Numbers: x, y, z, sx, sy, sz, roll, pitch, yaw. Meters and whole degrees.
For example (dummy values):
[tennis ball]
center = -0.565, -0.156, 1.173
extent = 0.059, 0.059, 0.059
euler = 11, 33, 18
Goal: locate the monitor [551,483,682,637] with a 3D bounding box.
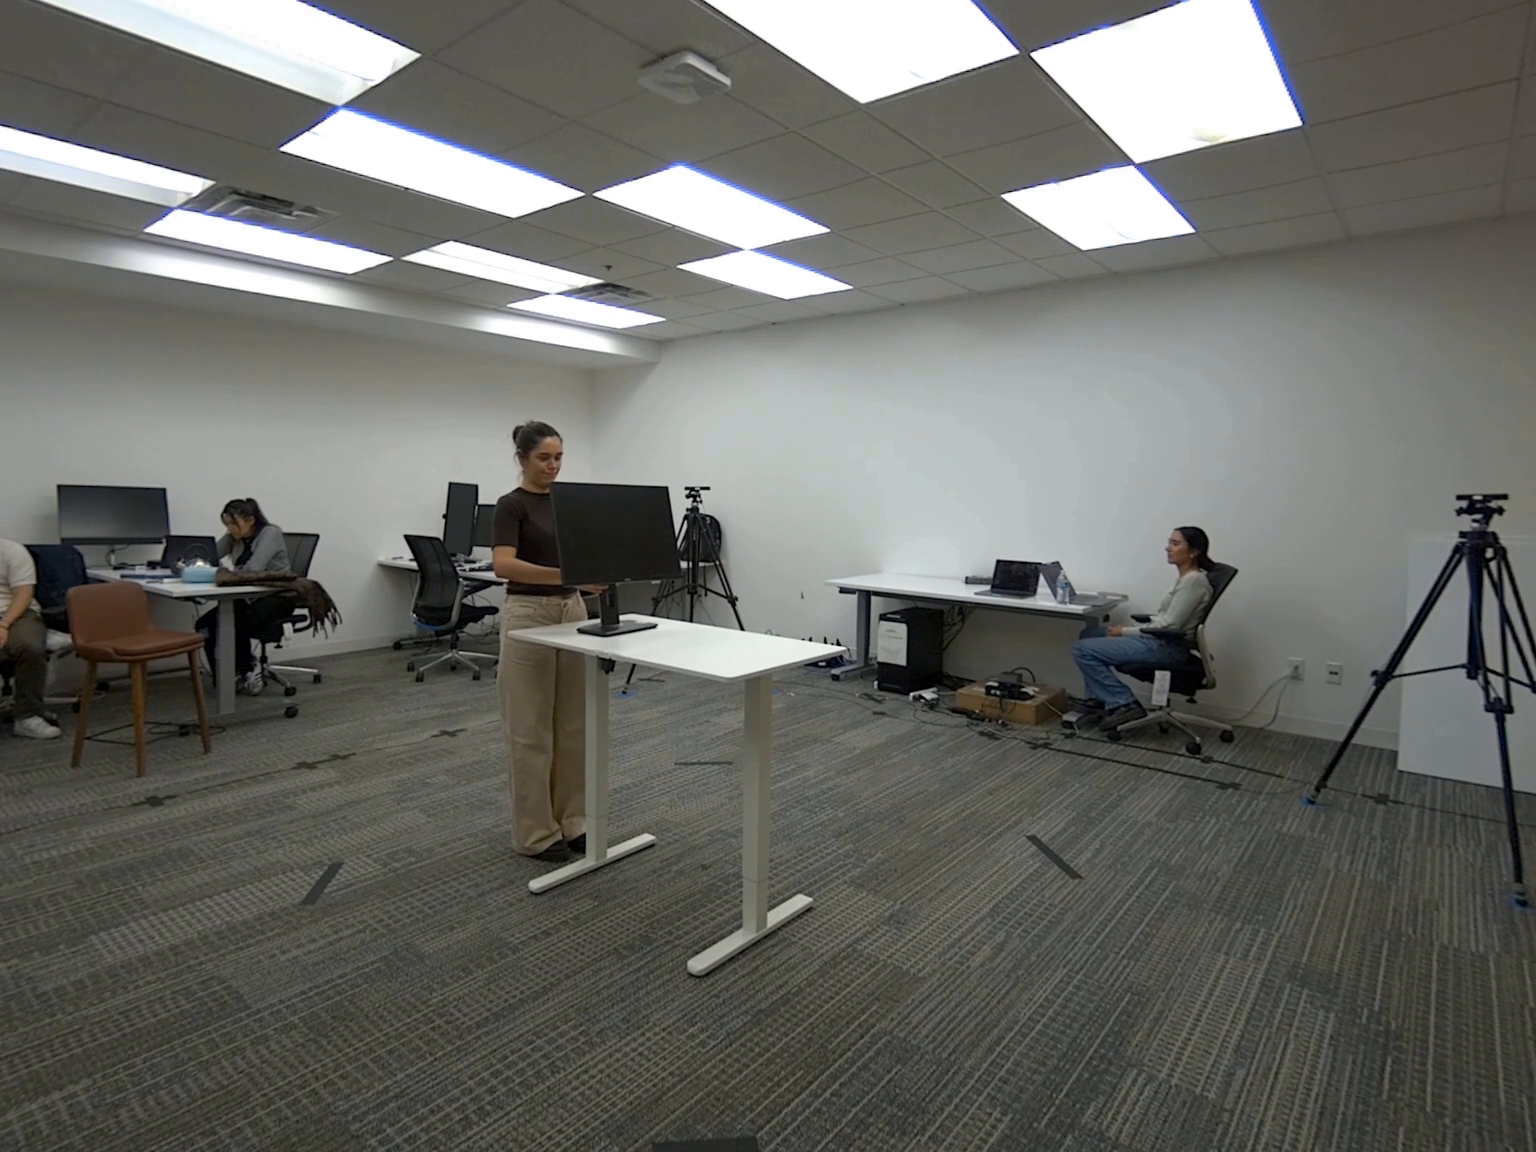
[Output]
[monitor]
center = -0.553, -0.064, 2.995
extent = 0.193, 0.522, 0.523
euler = 1, 2, 39
